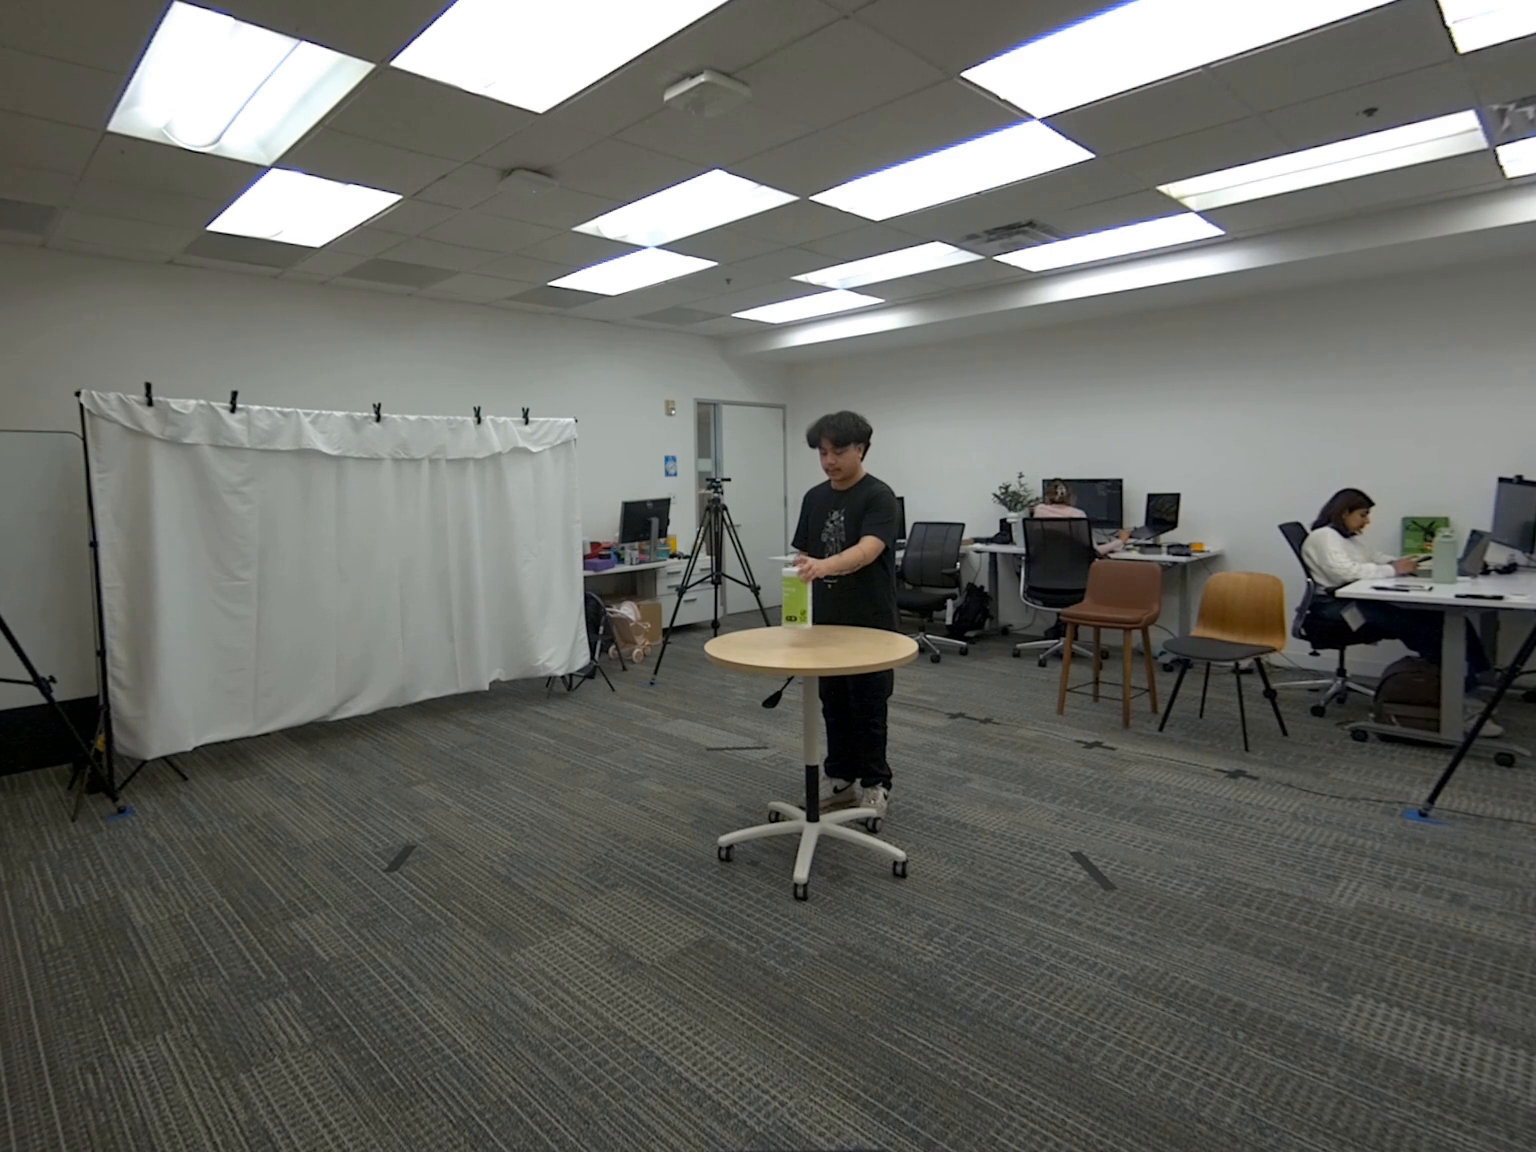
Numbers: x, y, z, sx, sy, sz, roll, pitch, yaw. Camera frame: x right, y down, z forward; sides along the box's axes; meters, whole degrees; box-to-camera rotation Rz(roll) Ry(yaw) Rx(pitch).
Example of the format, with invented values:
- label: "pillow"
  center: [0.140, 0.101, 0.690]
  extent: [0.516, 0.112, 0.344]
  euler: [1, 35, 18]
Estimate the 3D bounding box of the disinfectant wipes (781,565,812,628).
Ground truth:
- label: "disinfectant wipes"
  center: [0.099, 0.081, 3.061]
  extent: [0.118, 0.217, 0.118]
  euler: [-2, 2, -2]
